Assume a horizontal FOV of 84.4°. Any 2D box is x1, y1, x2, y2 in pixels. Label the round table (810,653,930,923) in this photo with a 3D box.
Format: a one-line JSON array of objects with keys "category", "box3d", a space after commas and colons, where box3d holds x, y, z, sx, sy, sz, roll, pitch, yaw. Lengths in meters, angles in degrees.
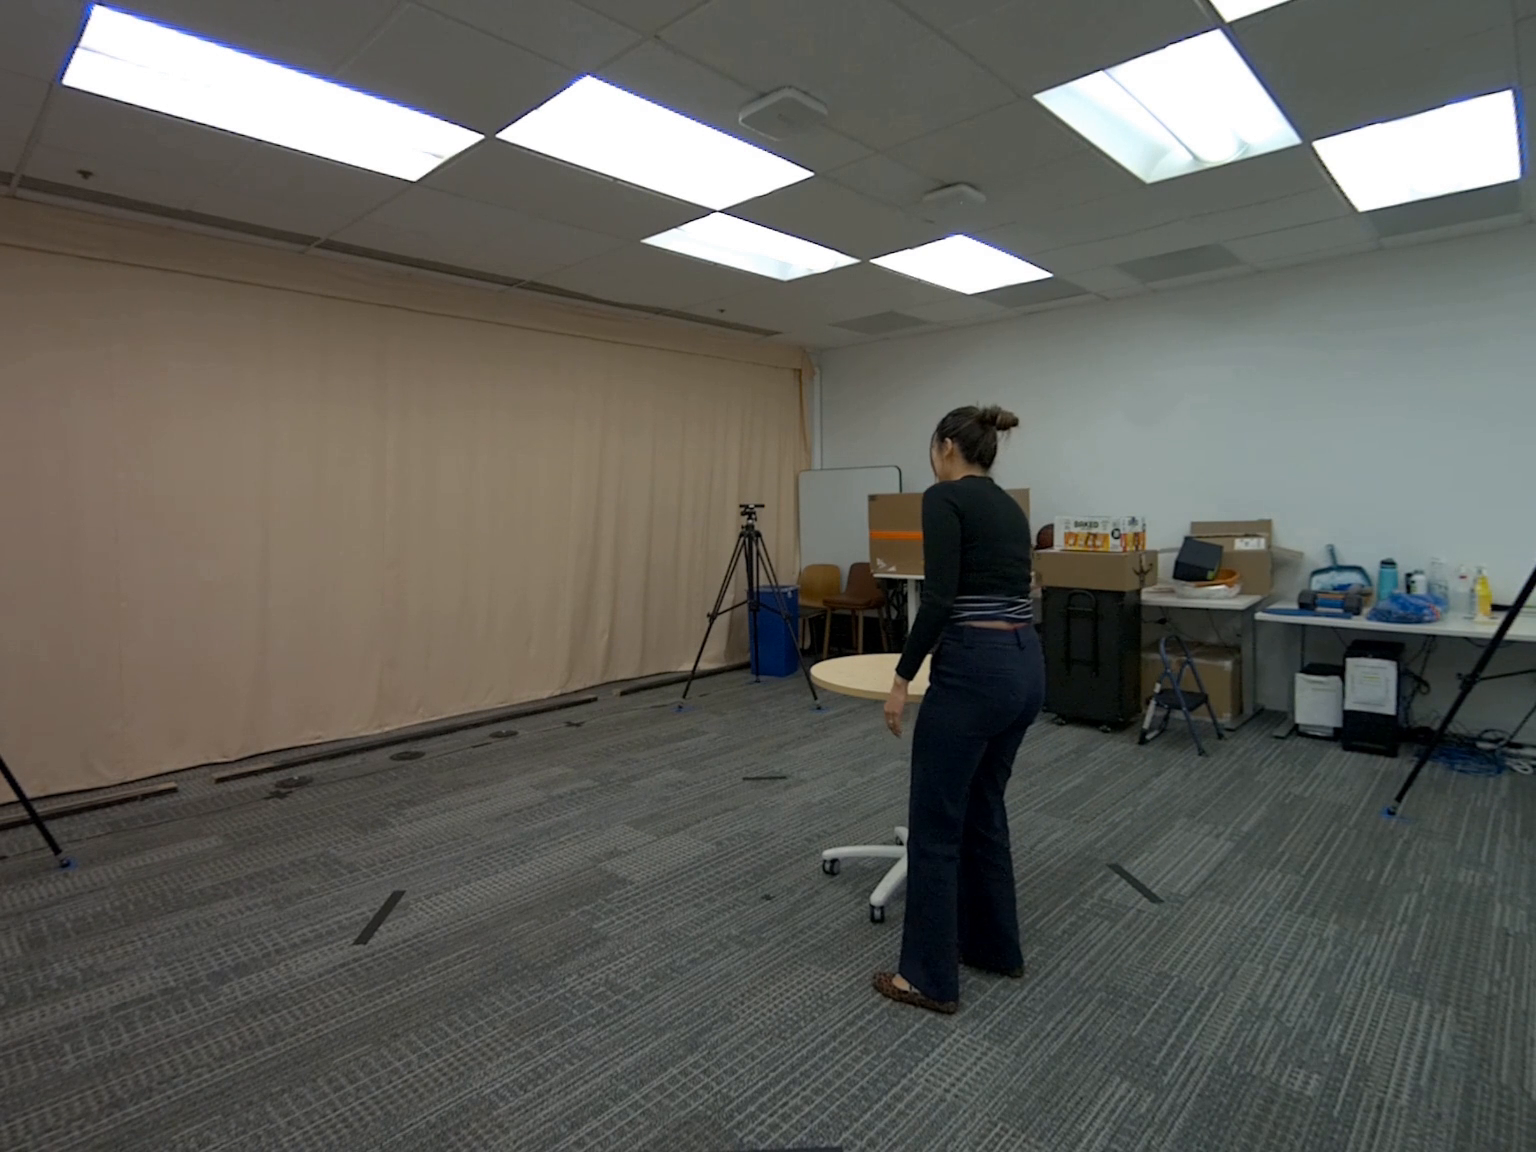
[{"category": "round table", "box3d": [0.544, 0.737, 3.024, 0.763, 0.792, 0.766, -1, 3, -2]}]
